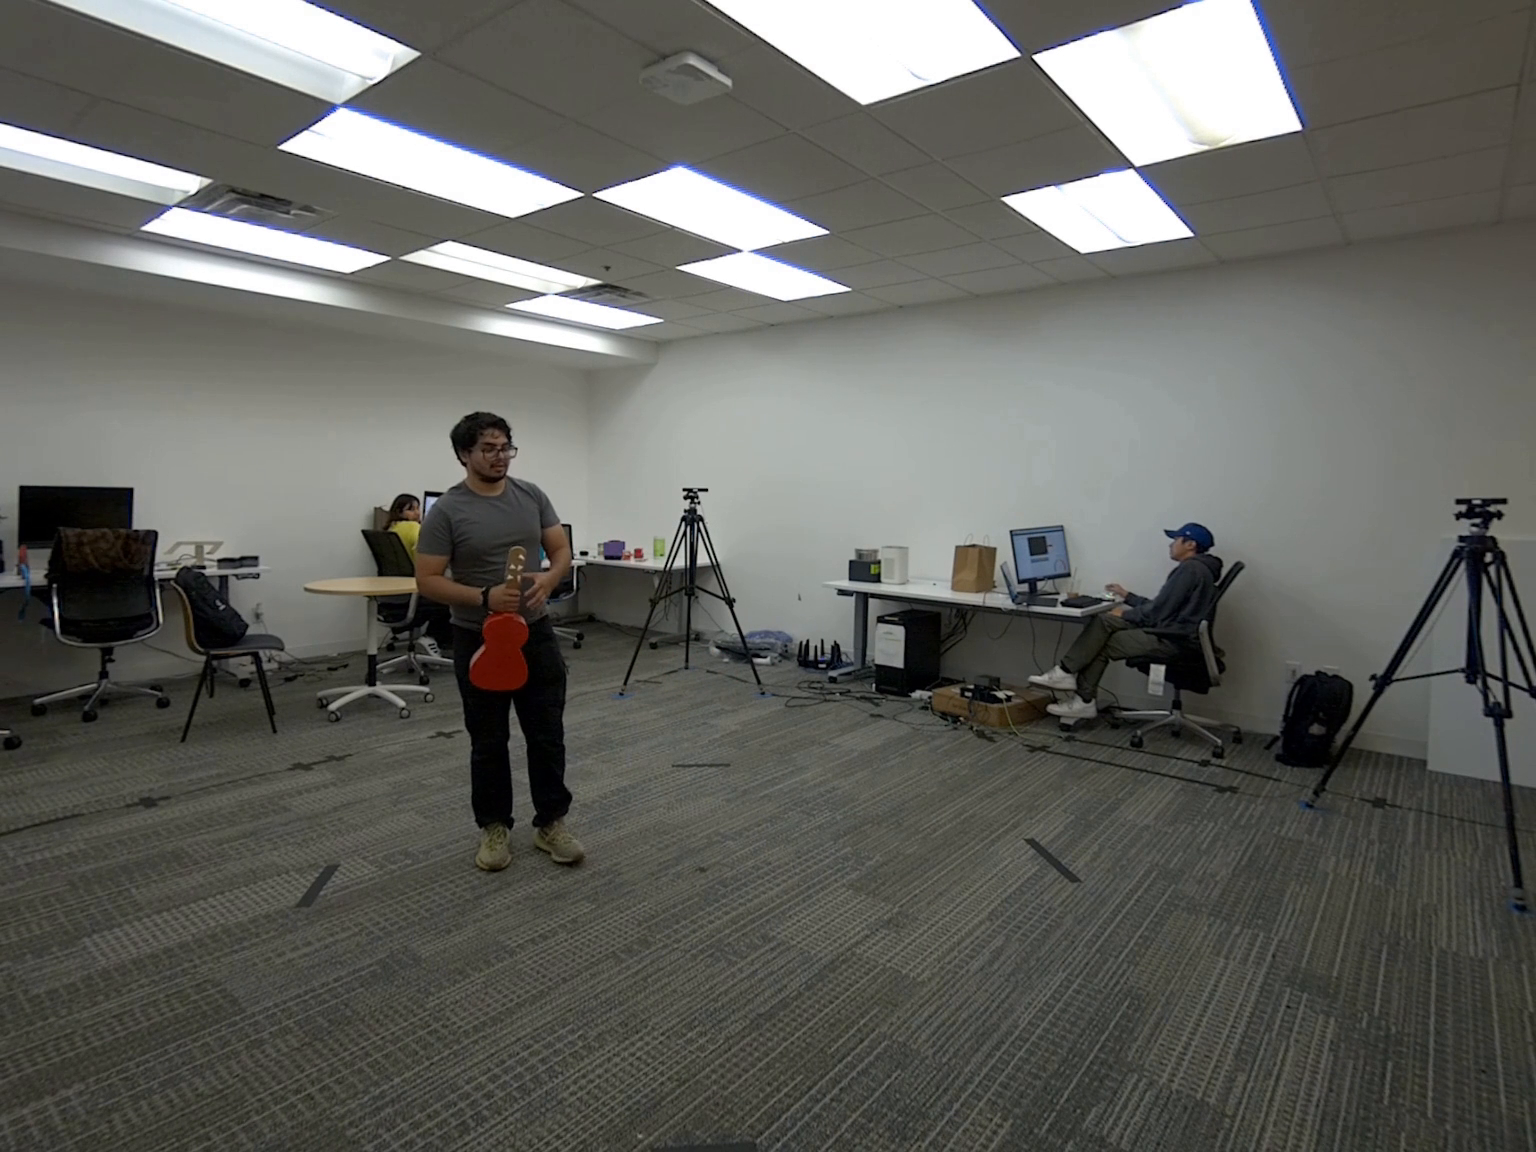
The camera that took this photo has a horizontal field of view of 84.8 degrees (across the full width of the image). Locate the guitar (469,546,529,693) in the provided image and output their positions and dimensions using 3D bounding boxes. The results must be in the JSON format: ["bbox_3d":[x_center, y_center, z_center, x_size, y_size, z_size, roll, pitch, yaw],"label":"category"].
[{"bbox_3d":[-0.950,0.152,2.874,0.190,0.490,0.073,-2,17,-16],"label":"guitar"}]
